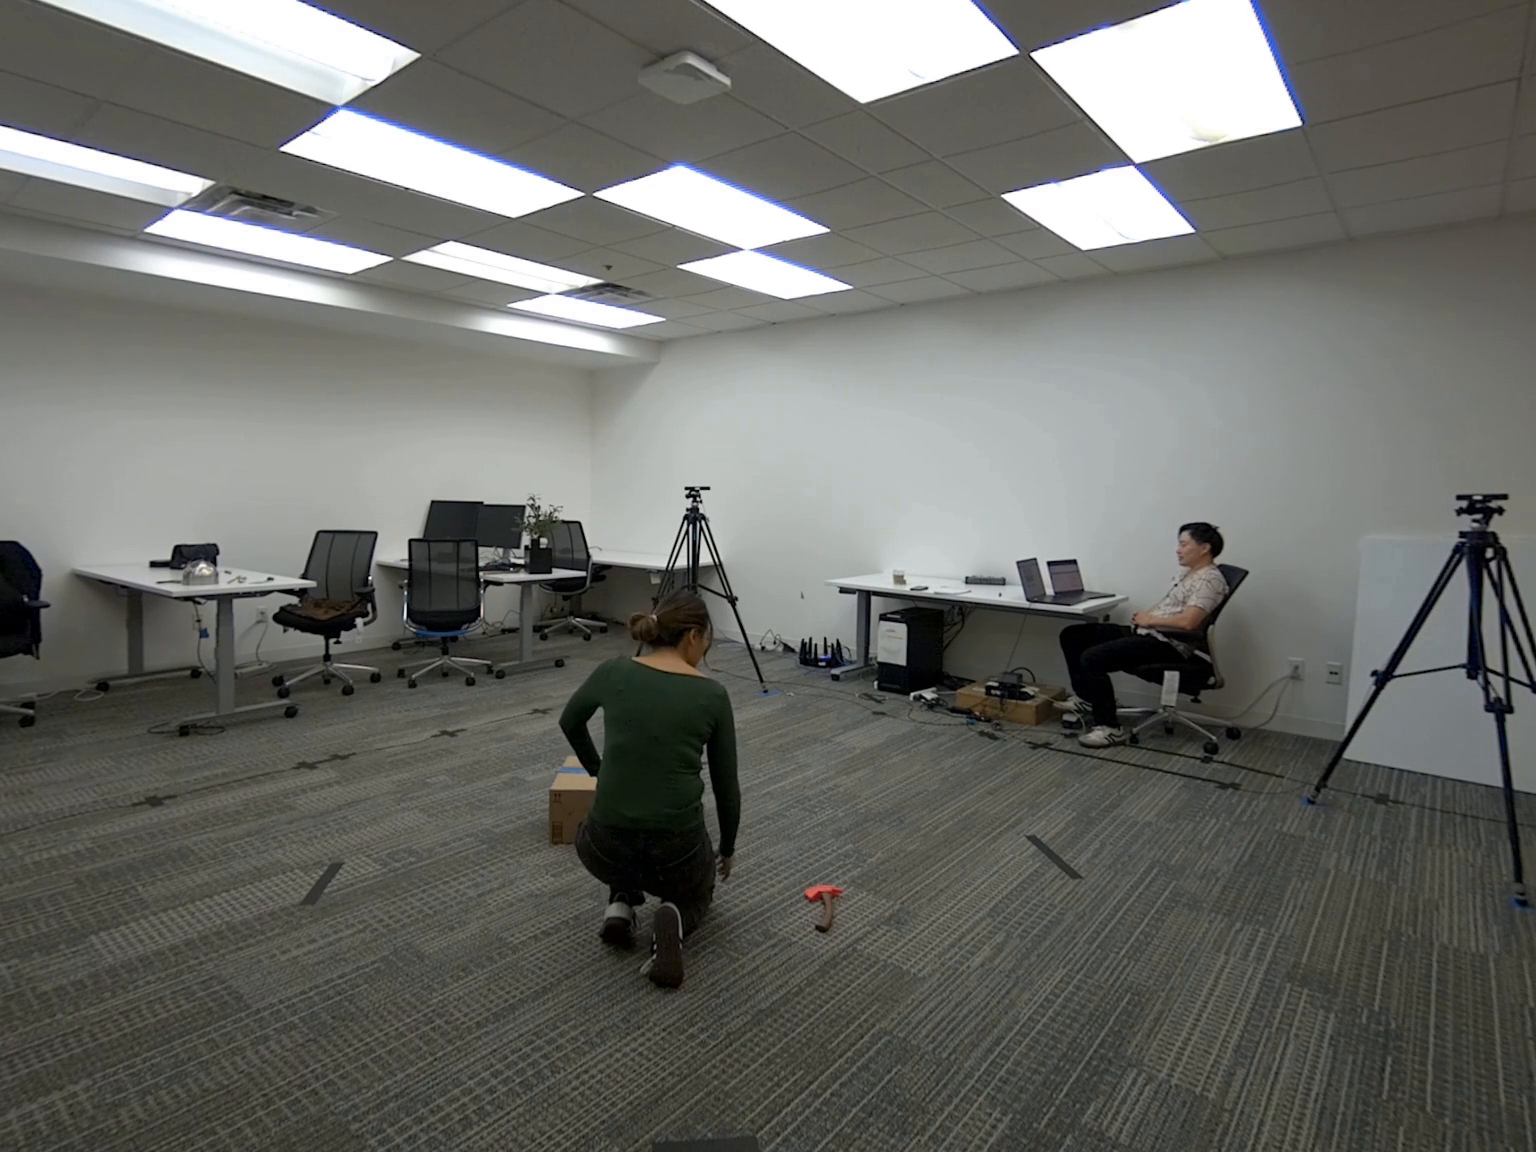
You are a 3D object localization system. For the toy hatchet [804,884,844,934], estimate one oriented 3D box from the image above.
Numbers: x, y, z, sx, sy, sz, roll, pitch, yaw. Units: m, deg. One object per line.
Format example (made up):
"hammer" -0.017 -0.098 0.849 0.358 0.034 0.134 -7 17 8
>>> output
"toy hatchet" 0.158 1.092 2.808 0.134 0.029 0.266 3 7 17
